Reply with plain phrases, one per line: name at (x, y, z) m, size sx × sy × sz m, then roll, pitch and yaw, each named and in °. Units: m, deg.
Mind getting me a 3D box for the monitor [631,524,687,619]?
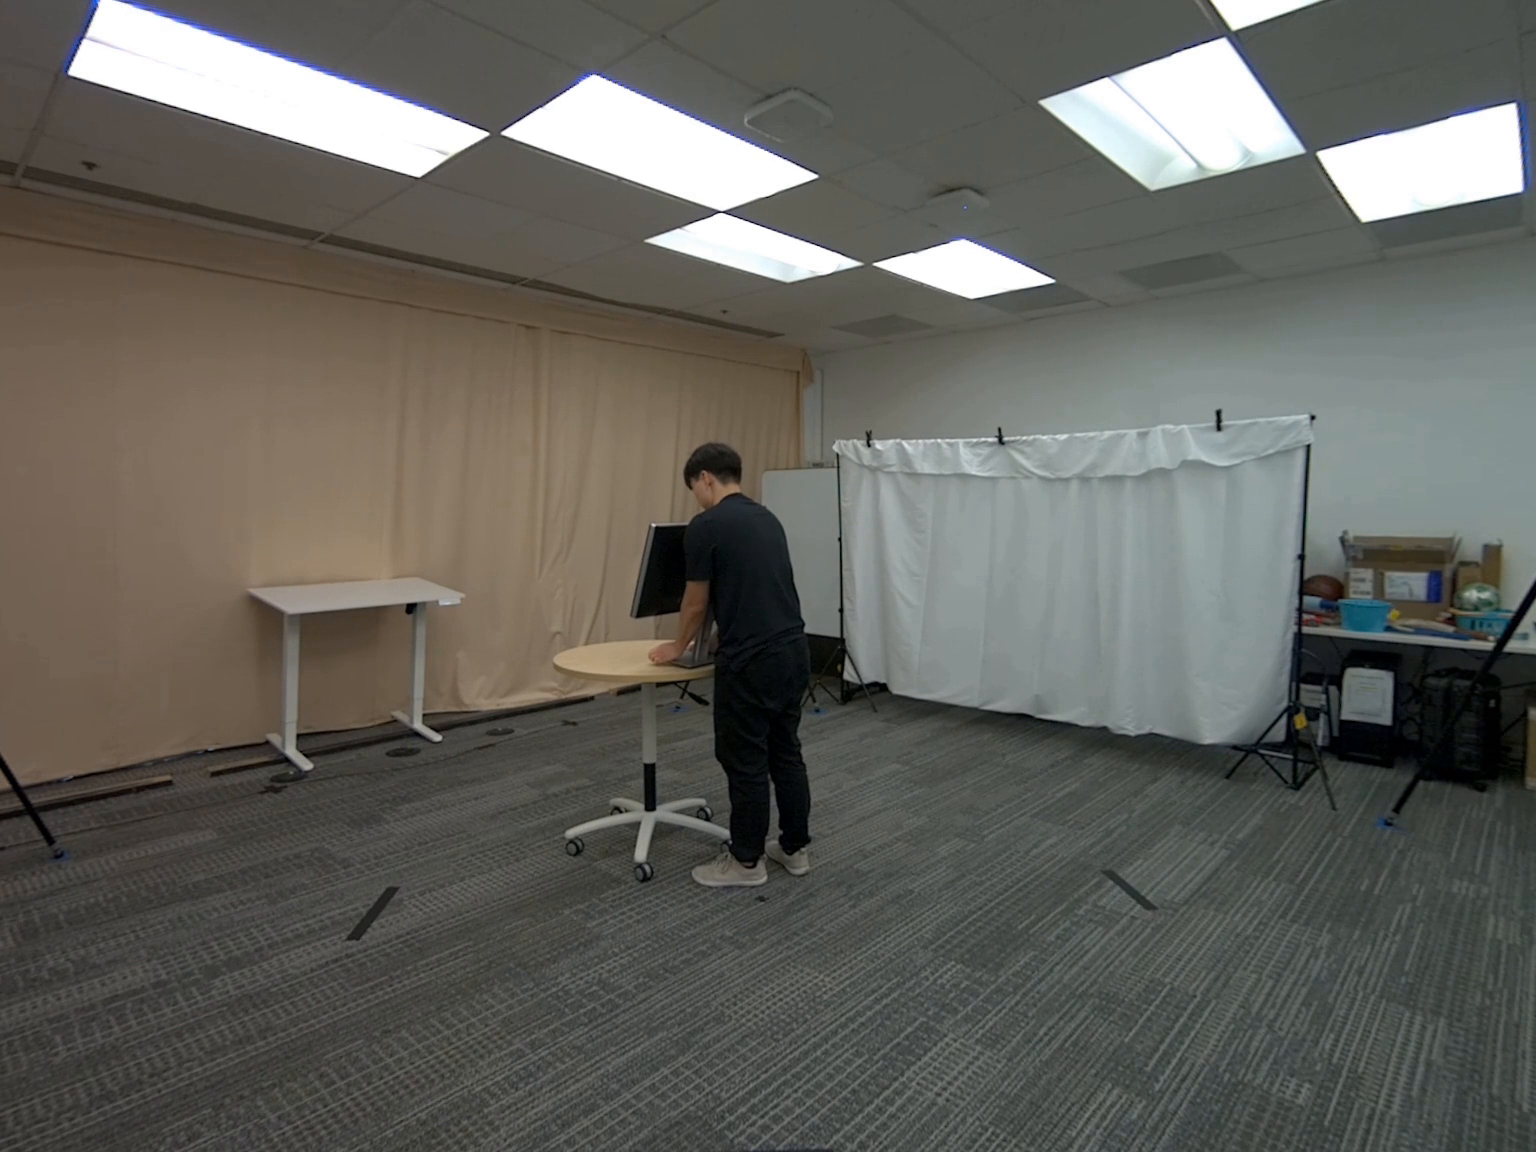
monitor at (-0.284, 0.062, 3.272) m, size 0.193 × 0.520 × 0.524 m, roll 8°, pitch 8°, yaw 34°
